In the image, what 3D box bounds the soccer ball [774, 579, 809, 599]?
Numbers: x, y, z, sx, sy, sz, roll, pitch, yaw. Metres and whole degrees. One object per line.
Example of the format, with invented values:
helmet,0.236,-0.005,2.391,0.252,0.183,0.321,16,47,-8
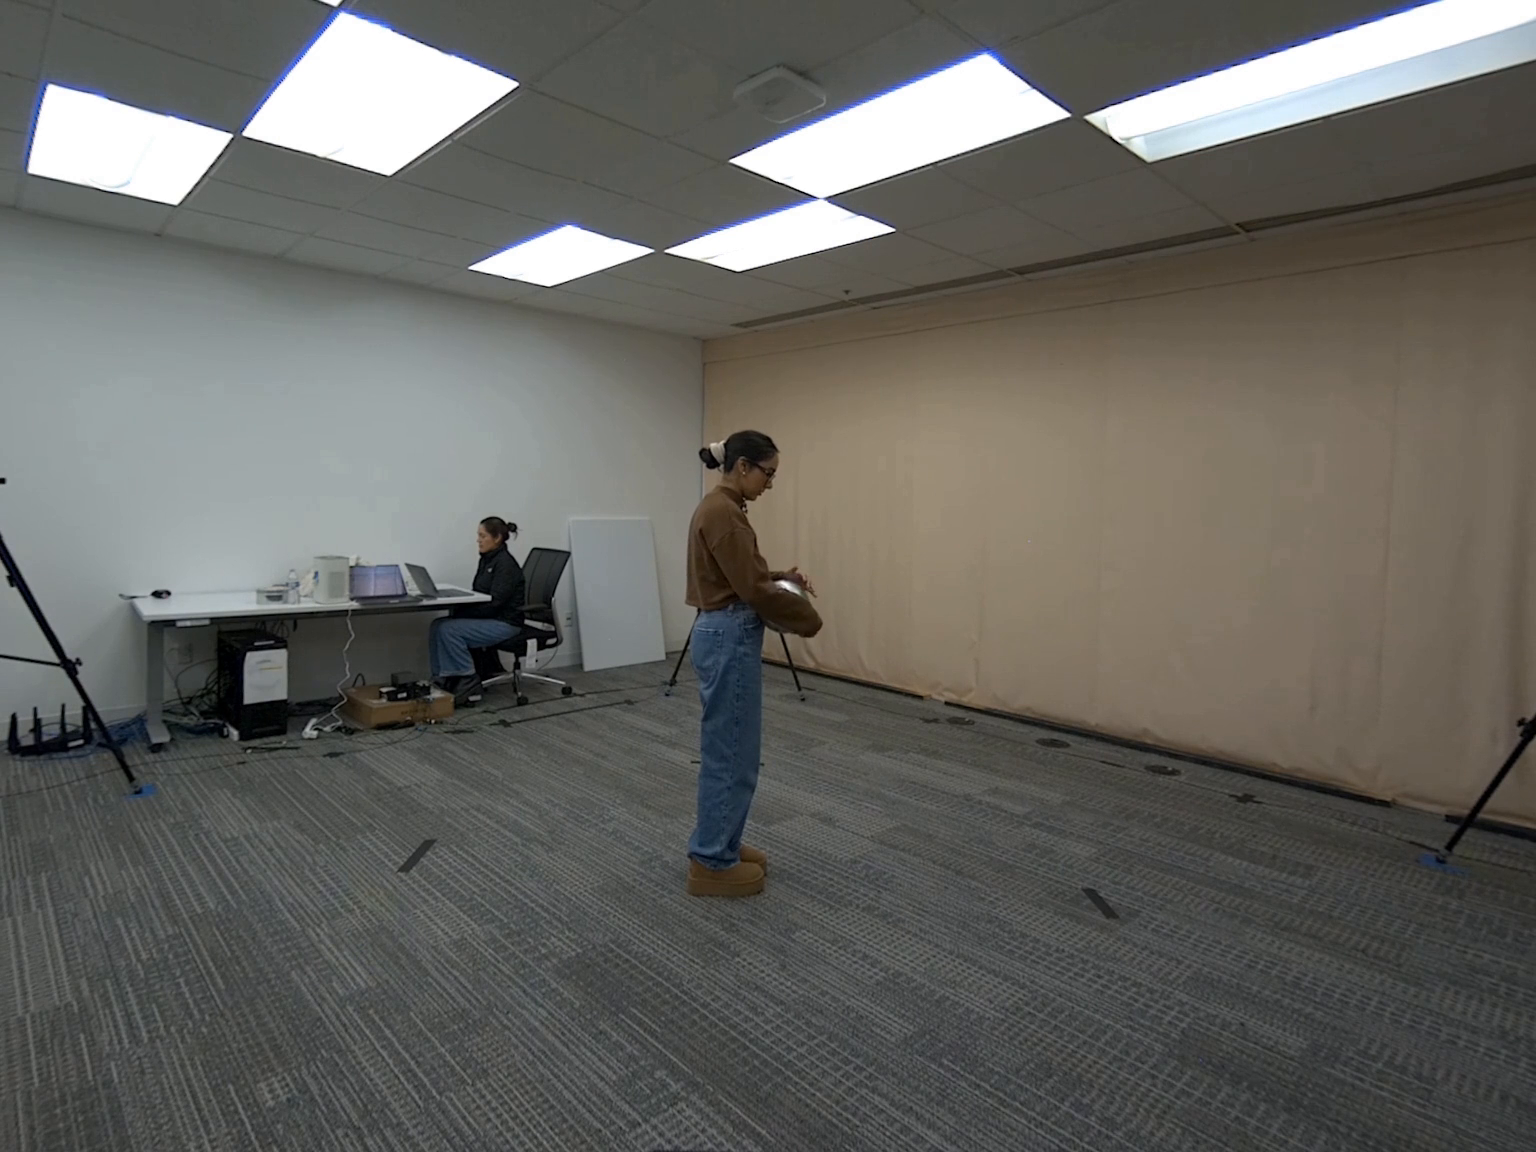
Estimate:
soccer ball,0.045,0.114,2.944,0.187,0.187,0.188,1,4,-1
